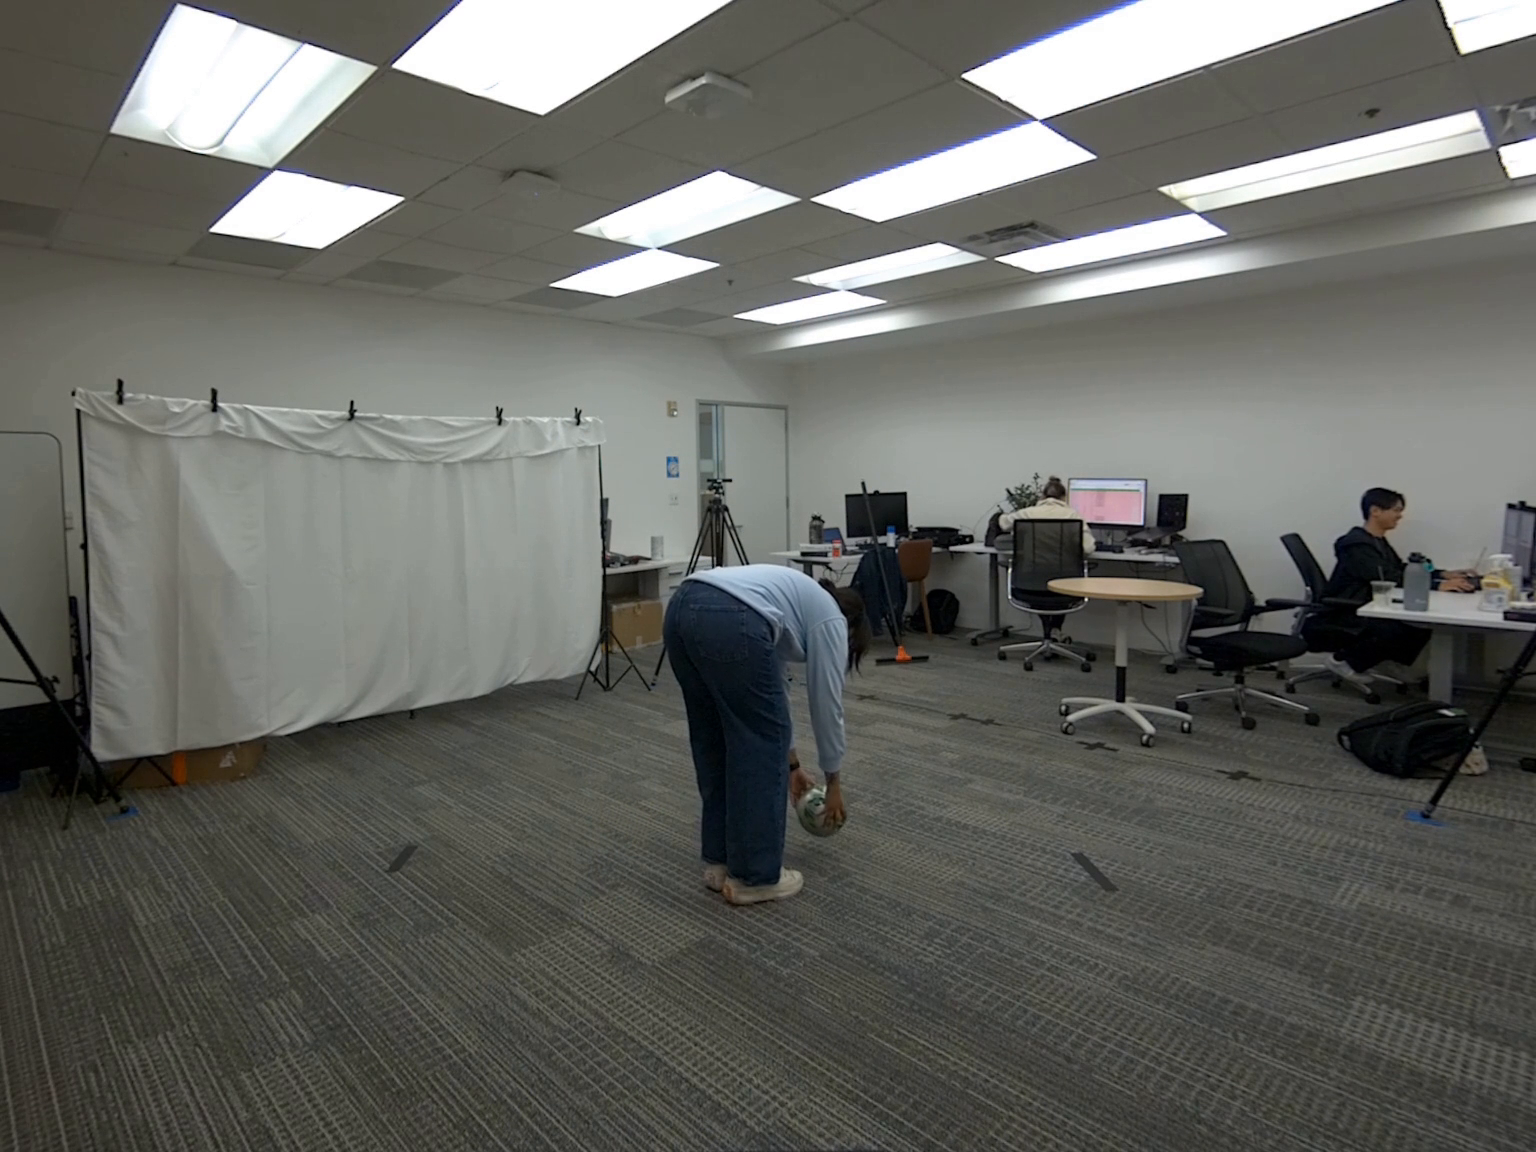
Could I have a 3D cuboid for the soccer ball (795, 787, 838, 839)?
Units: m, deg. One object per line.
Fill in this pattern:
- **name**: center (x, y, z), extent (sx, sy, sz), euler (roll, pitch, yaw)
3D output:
- **soccer ball**: center (0.203, 0.864, 3.167), extent (0.187, 0.187, 0.188), euler (-1, 5, -2)
